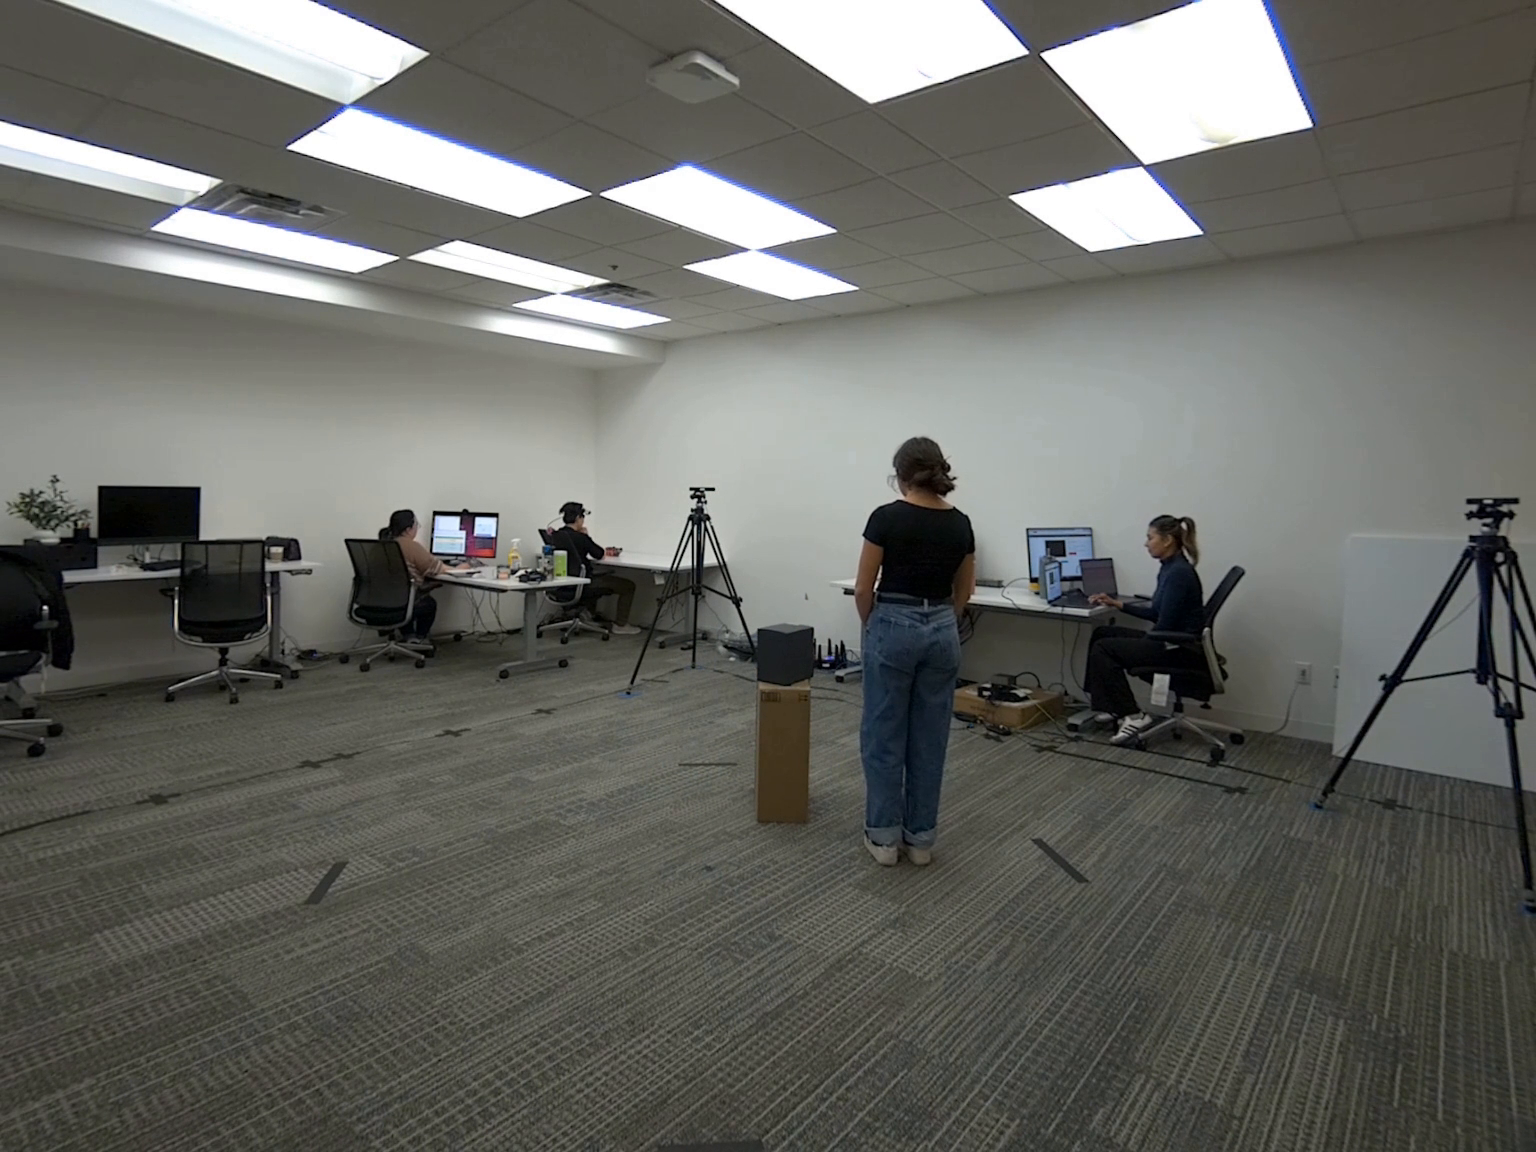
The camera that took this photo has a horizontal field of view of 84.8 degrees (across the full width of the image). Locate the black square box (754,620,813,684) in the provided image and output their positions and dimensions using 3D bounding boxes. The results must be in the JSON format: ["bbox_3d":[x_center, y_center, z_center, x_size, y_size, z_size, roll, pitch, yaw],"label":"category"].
[{"bbox_3d":[0.067,0.329,3.705,0.161,0.227,0.211,3,5,38],"label":"black square box"}]
